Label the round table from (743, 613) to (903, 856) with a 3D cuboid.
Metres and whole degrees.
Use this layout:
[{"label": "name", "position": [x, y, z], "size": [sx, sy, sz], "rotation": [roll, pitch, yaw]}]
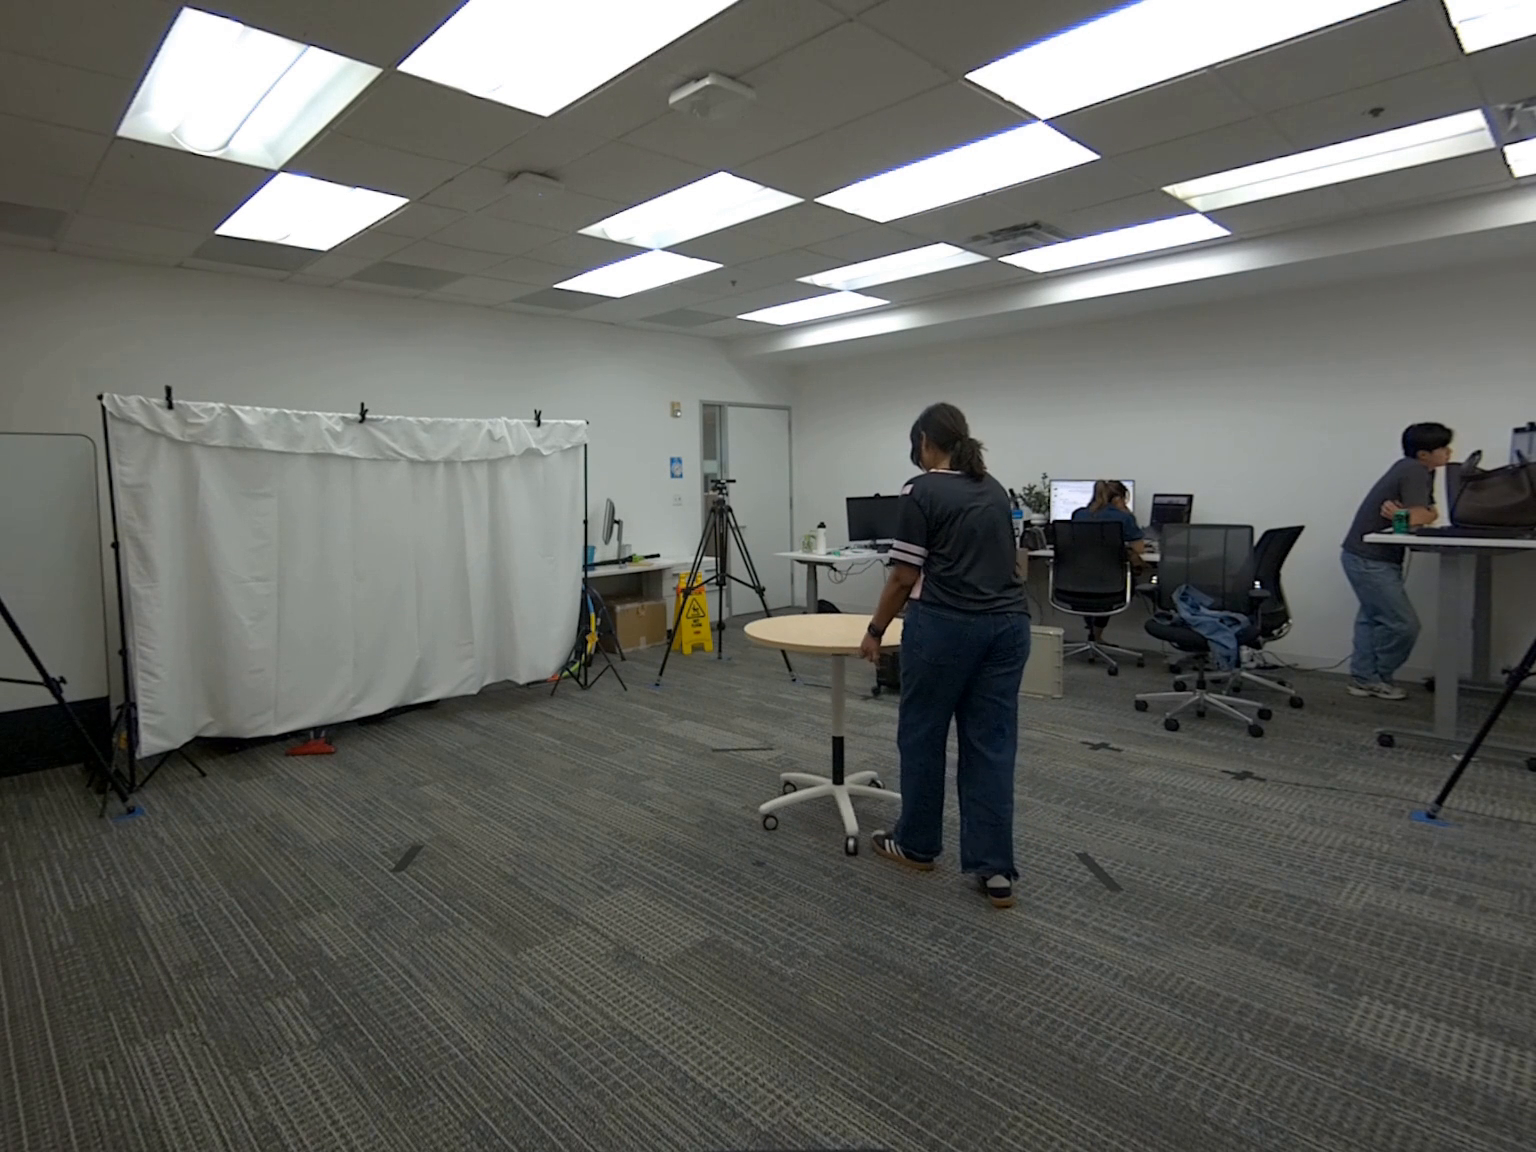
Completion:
[{"label": "round table", "position": [0.277, 0.603, 3.503], "size": [0.784, 0.783, 0.789], "rotation": [0, 5, -2]}]
